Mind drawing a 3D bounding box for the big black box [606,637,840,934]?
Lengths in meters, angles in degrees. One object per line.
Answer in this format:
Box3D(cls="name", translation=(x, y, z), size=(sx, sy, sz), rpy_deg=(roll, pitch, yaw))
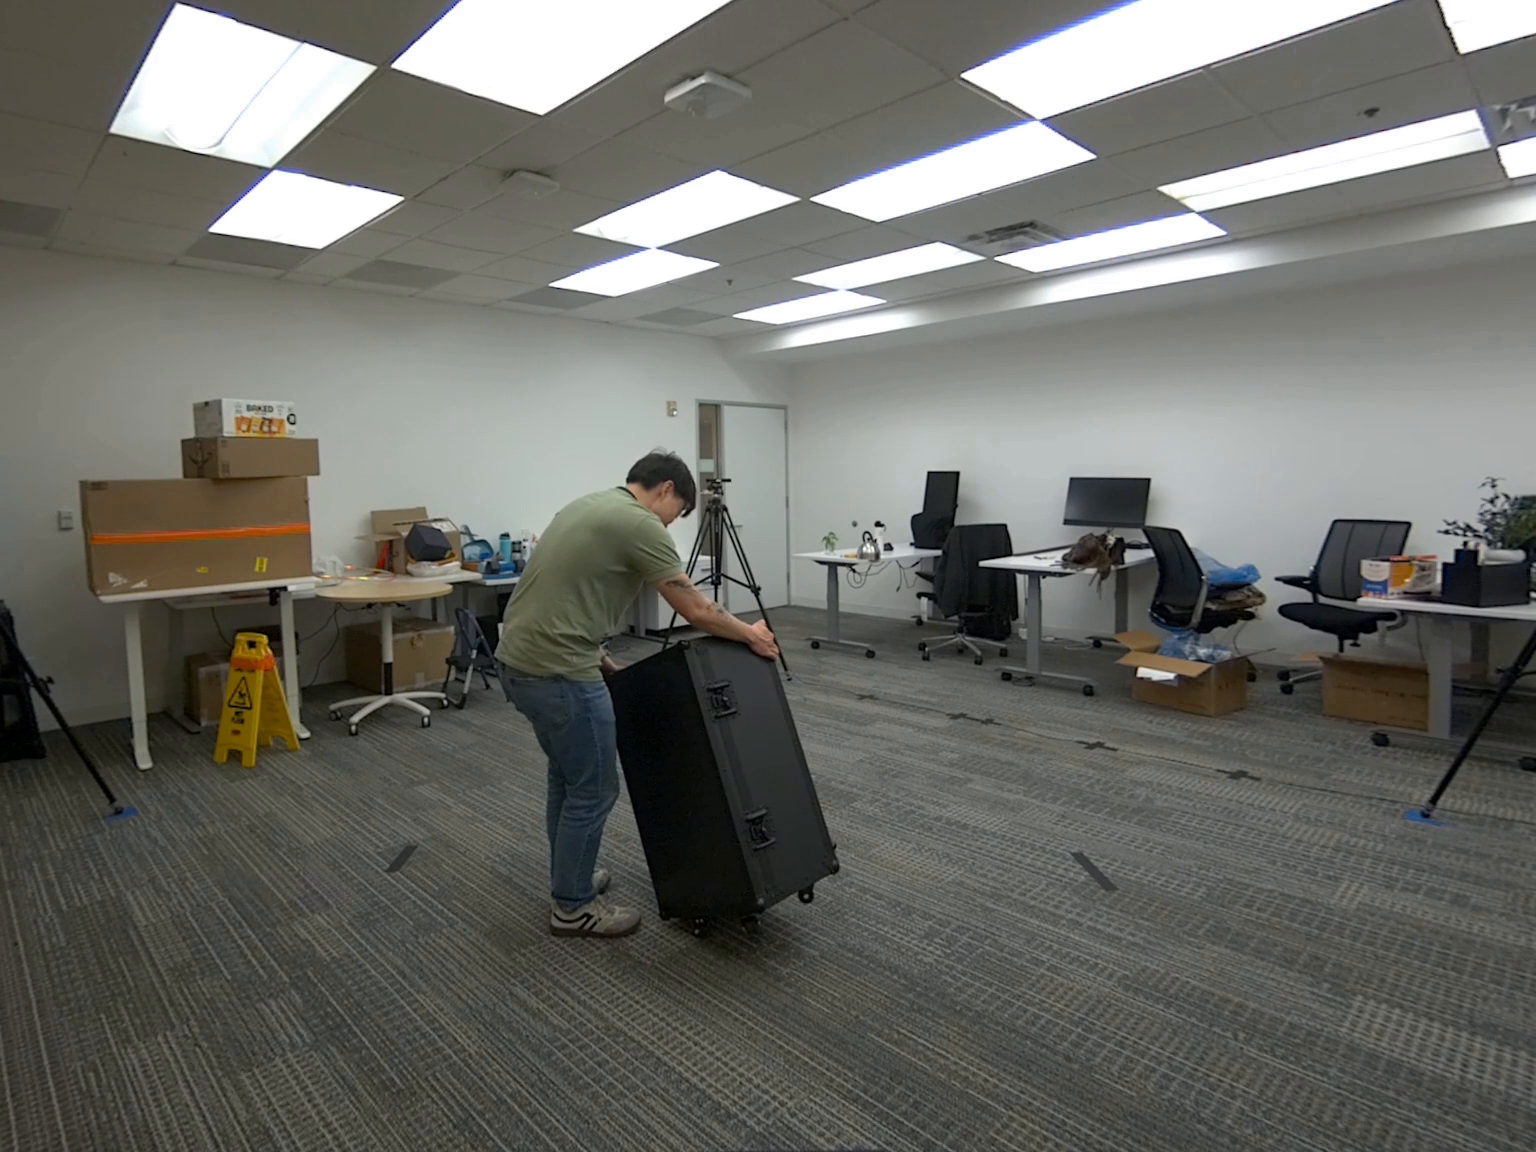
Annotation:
Box3D(cls="big black box", translation=(-0.158, 0.653, 2.739), size=(0.385, 0.875, 0.527), rpy_deg=(-3, -18, -43))
